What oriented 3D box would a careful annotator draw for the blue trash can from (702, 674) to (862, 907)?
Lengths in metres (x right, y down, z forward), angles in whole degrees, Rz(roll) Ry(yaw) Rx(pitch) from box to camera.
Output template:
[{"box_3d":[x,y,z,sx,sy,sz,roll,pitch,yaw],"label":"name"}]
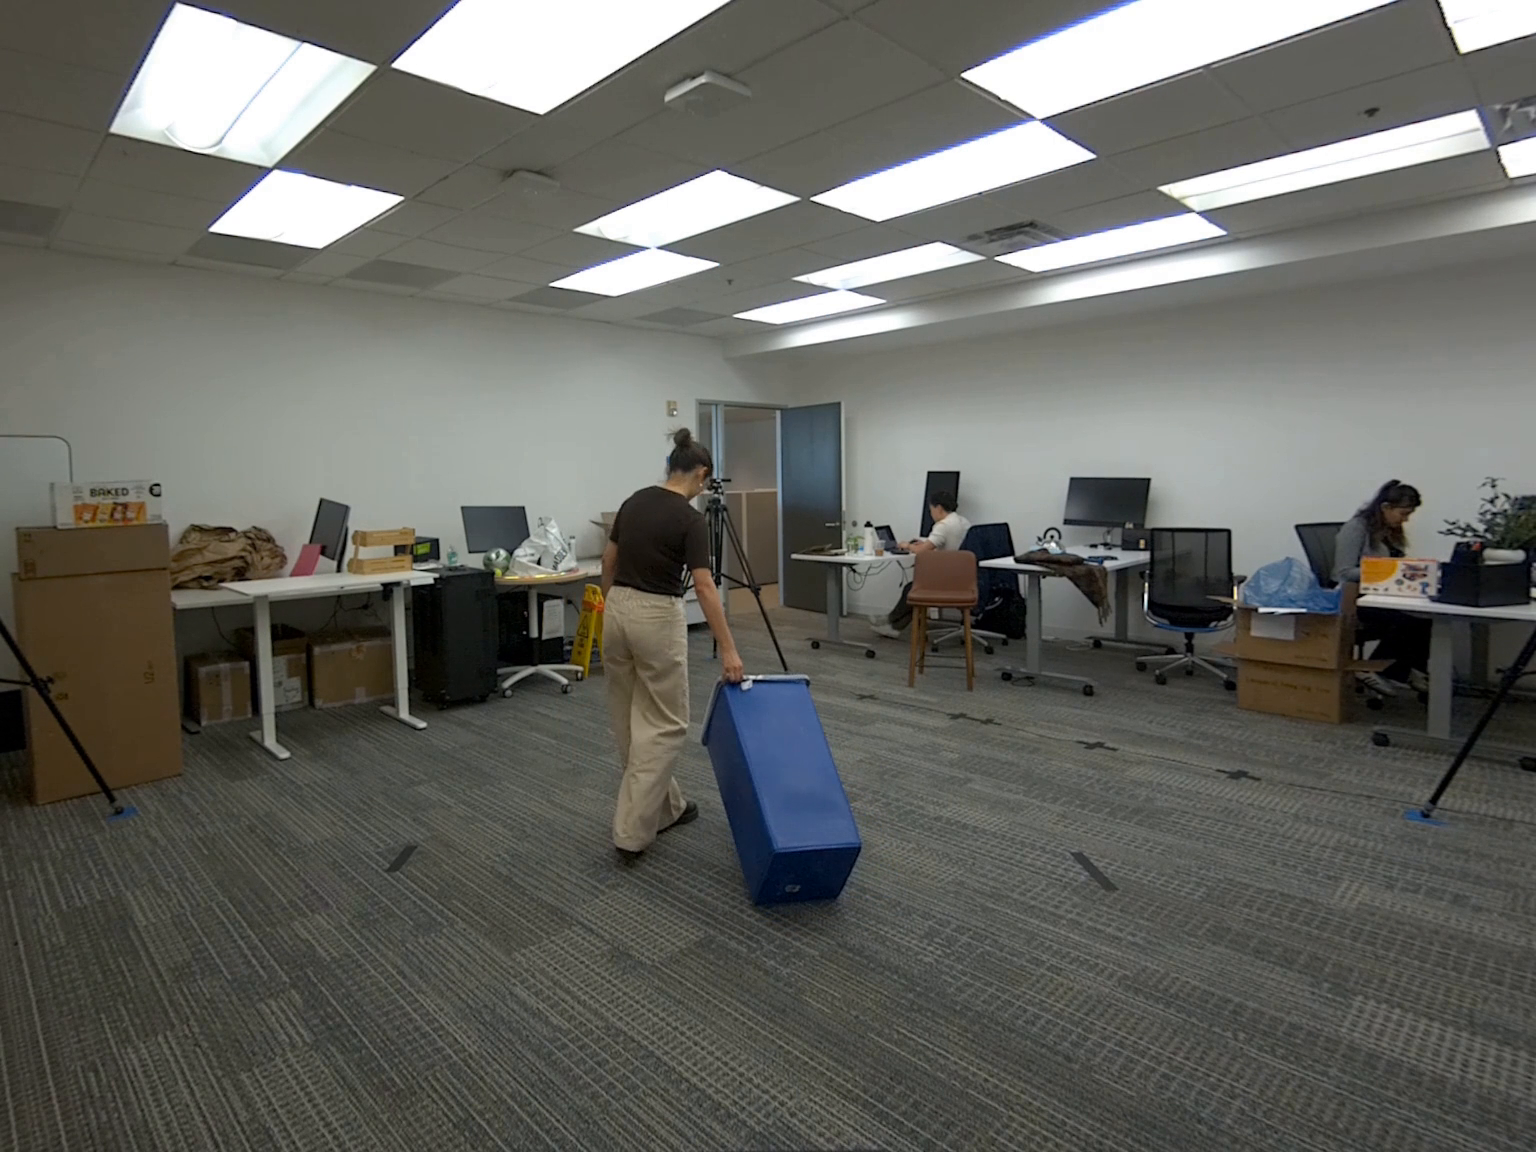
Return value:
[{"box_3d":[0.036,0.735,2.987,0.372,0.367,0.739,2,38,-18],"label":"blue trash can"}]
